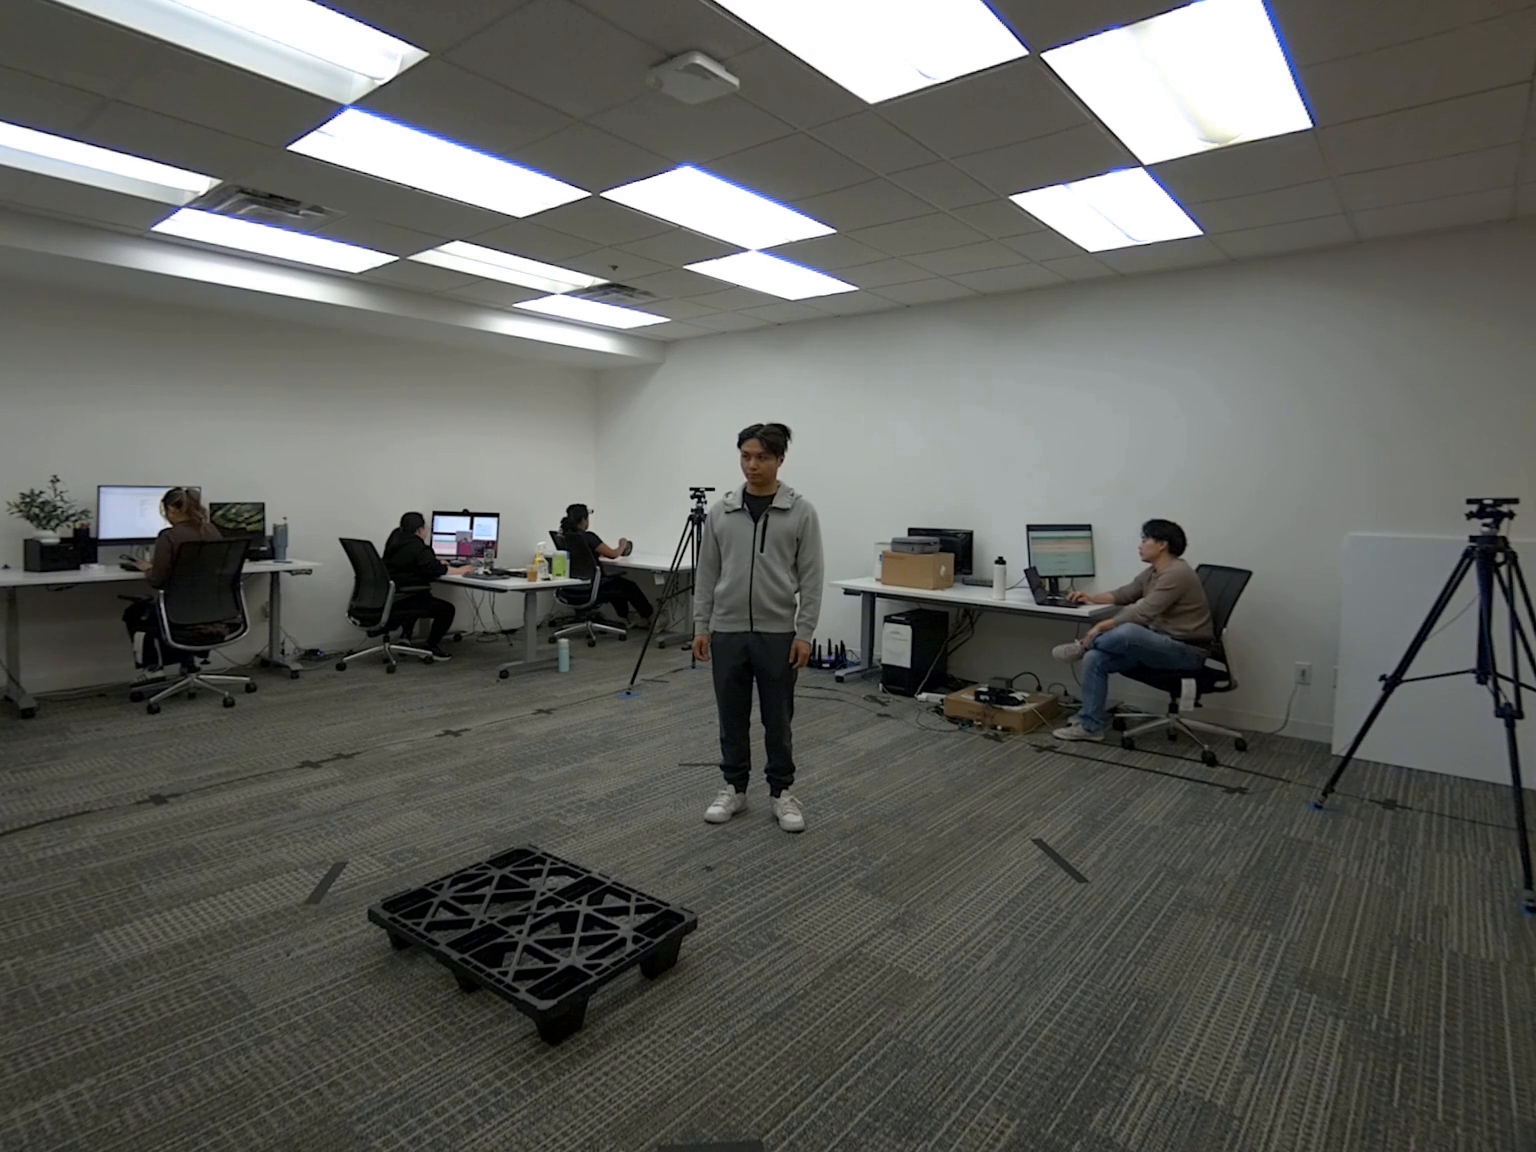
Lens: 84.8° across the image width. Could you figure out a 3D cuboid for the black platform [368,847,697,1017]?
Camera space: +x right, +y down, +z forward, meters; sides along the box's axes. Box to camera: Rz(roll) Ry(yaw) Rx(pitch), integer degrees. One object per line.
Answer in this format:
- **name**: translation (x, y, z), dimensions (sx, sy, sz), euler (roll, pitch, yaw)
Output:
- **black platform**: translation (-0.706, 1.051, 2.520), dimensions (0.832, 0.143, 0.588), euler (5, 7, 36)
